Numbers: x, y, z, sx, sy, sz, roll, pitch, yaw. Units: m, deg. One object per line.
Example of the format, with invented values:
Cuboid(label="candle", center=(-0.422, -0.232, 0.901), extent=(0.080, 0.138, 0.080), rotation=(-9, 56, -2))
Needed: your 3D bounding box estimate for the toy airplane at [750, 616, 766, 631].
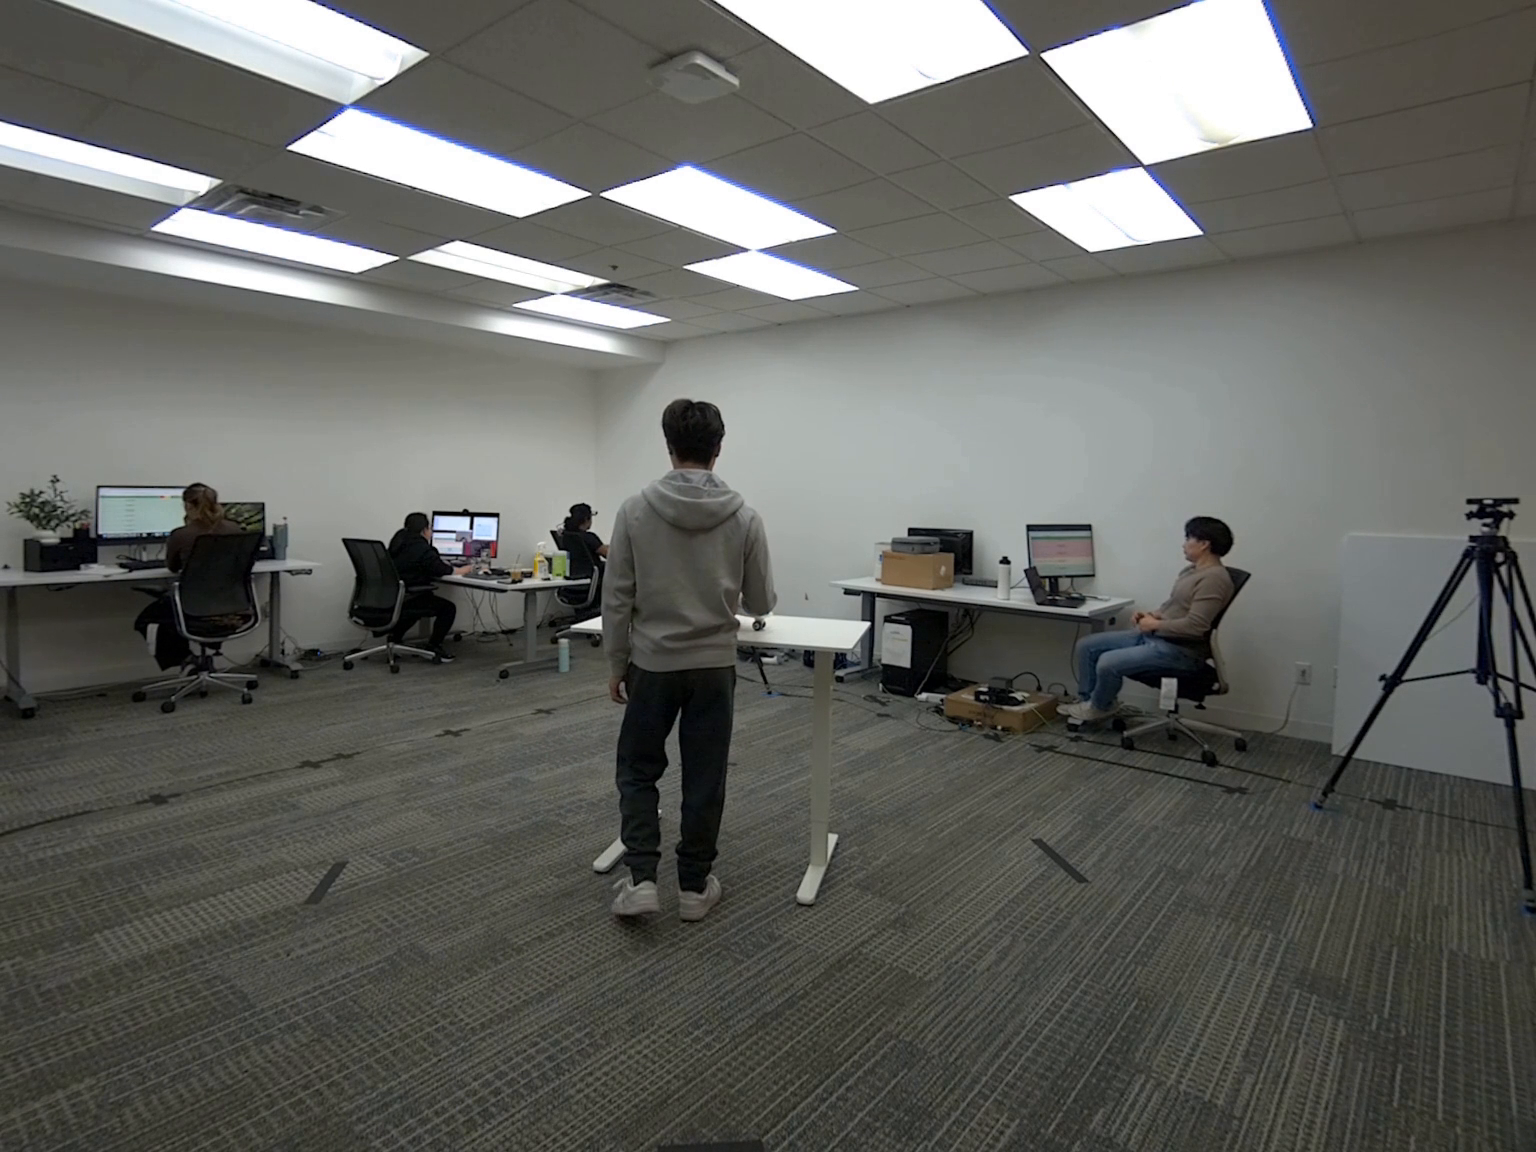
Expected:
Cuboid(label="toy airplane", center=(-0.124, 0.107, 3.132), extent=(0.257, 0.155, 0.254), rotation=(0, 7, -7))
